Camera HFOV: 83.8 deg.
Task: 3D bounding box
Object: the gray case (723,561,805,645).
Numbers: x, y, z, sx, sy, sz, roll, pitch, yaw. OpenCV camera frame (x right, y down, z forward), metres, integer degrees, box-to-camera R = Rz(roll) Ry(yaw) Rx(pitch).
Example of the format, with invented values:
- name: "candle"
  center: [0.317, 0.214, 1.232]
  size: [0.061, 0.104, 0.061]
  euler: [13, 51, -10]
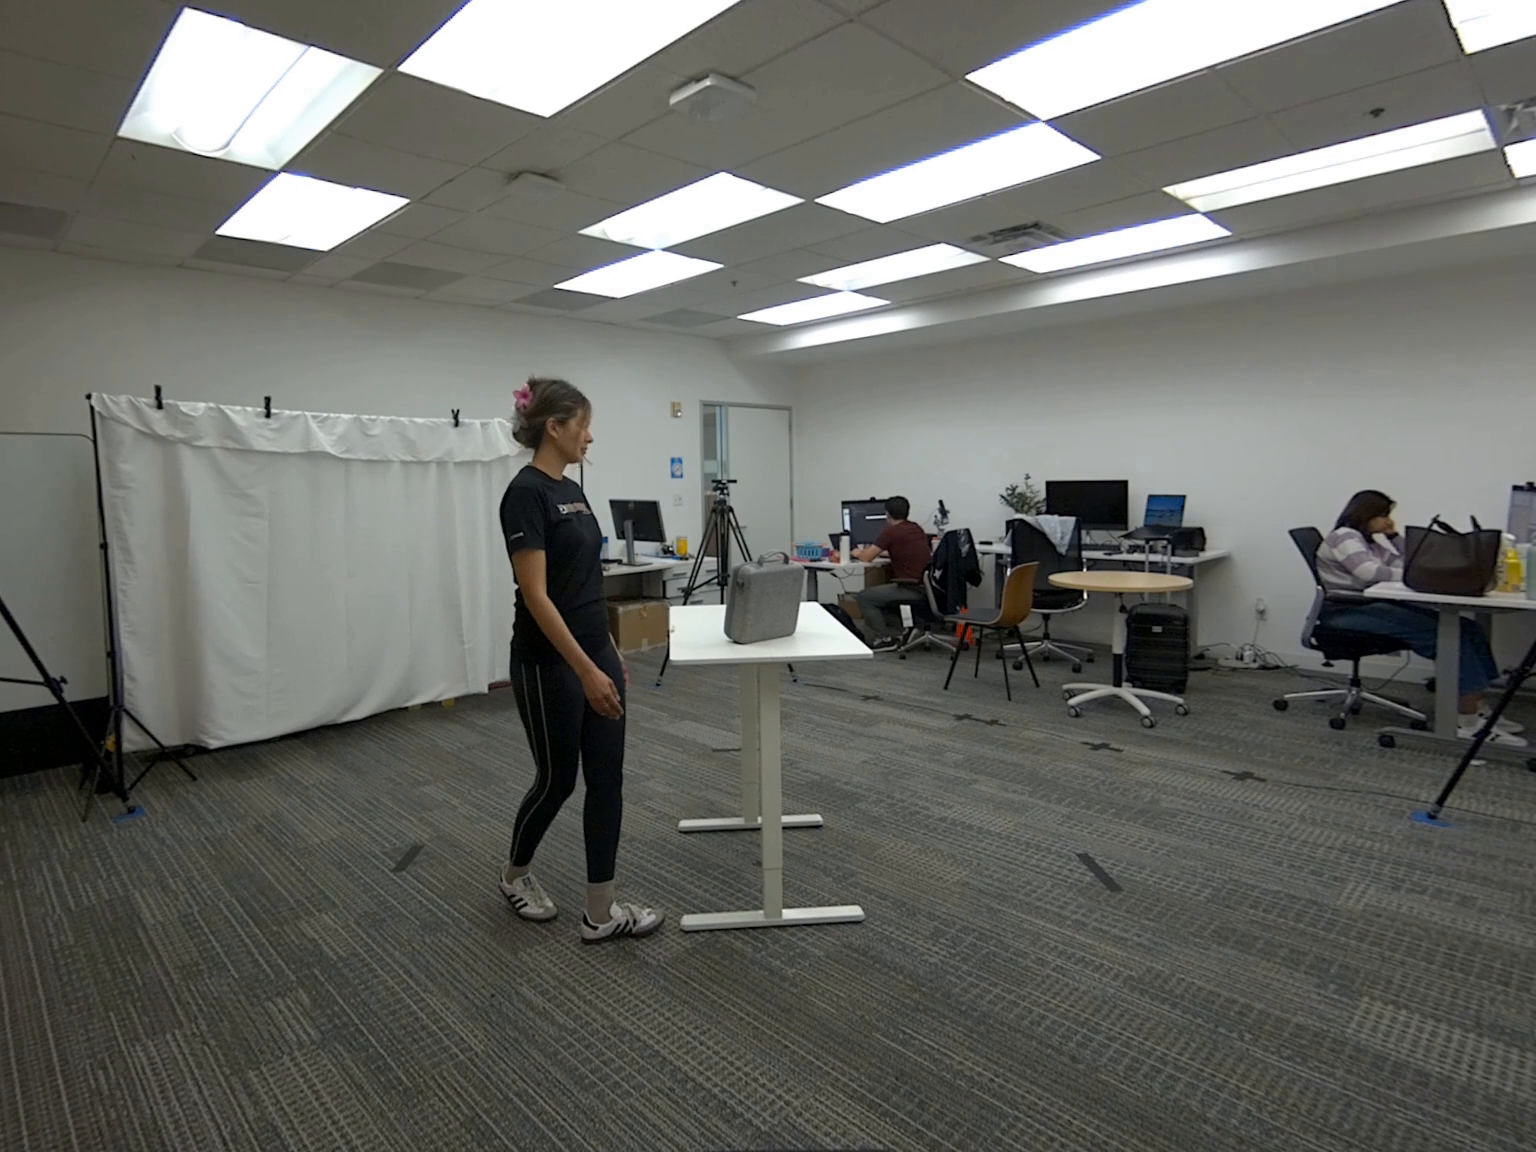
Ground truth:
- name: "gray case"
  center: [-0.004, 0.076, 2.754]
  size: [0.250, 0.258, 0.108]
  euler: [-7, 19, -40]
